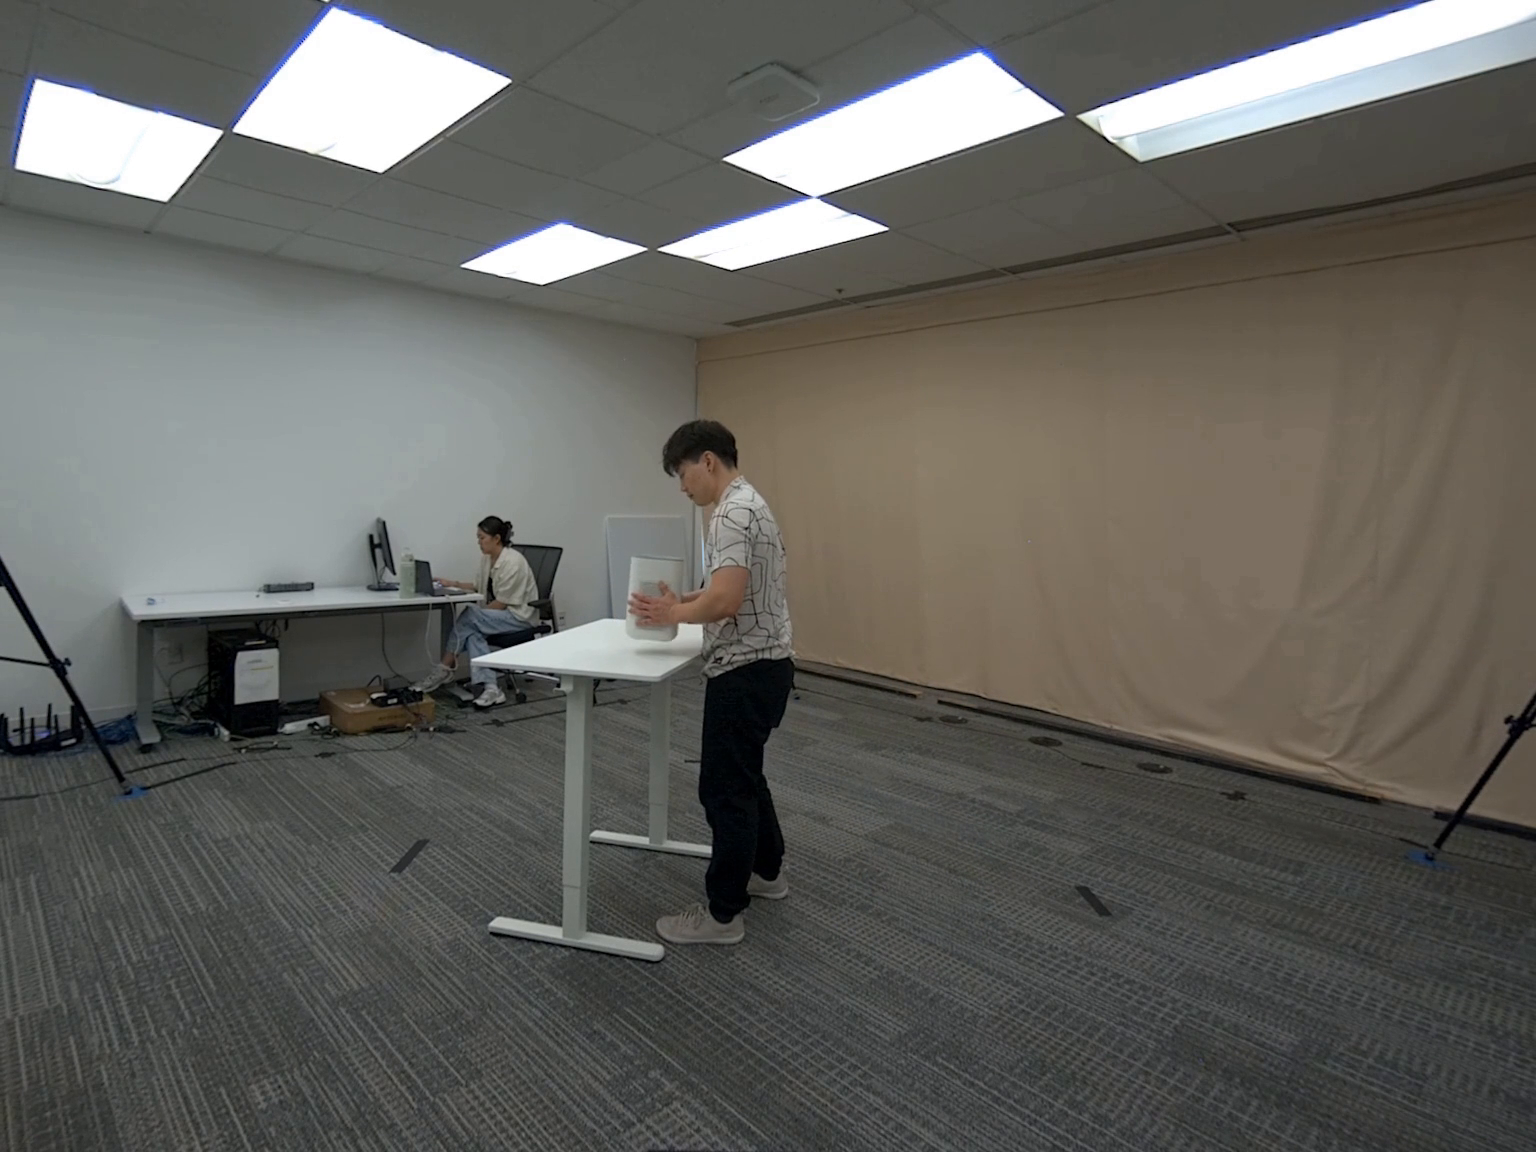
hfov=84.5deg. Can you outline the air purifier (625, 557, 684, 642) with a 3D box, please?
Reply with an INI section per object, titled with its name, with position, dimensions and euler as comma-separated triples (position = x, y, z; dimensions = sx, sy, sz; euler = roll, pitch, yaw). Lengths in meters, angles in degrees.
[air purifier]
position = -0.369, 0.073, 2.734
dimensions = 0.171, 0.265, 0.171
euler = 4, -1, -4
